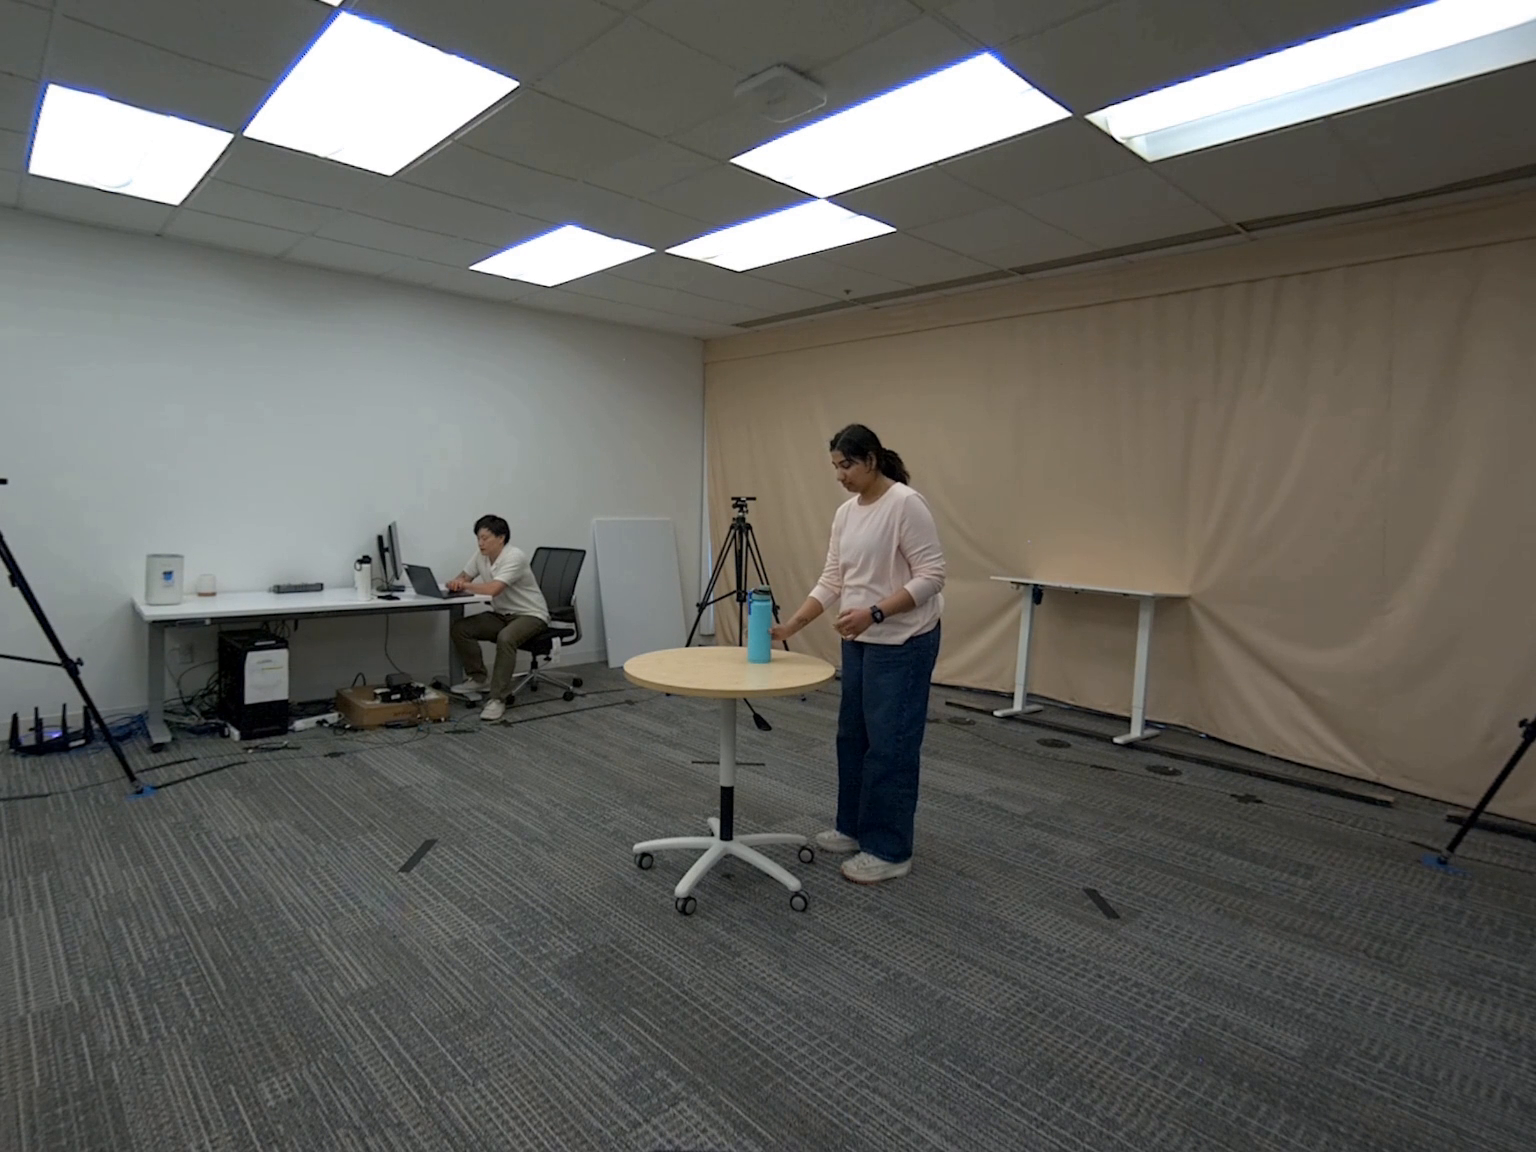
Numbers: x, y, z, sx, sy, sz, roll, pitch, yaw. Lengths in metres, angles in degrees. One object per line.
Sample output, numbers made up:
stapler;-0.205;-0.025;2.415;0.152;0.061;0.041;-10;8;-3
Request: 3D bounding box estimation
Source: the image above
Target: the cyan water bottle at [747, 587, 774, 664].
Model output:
cyan water bottle;-0.037;0.179;3.150;0.092;0.283;0.092;1;3;-1
